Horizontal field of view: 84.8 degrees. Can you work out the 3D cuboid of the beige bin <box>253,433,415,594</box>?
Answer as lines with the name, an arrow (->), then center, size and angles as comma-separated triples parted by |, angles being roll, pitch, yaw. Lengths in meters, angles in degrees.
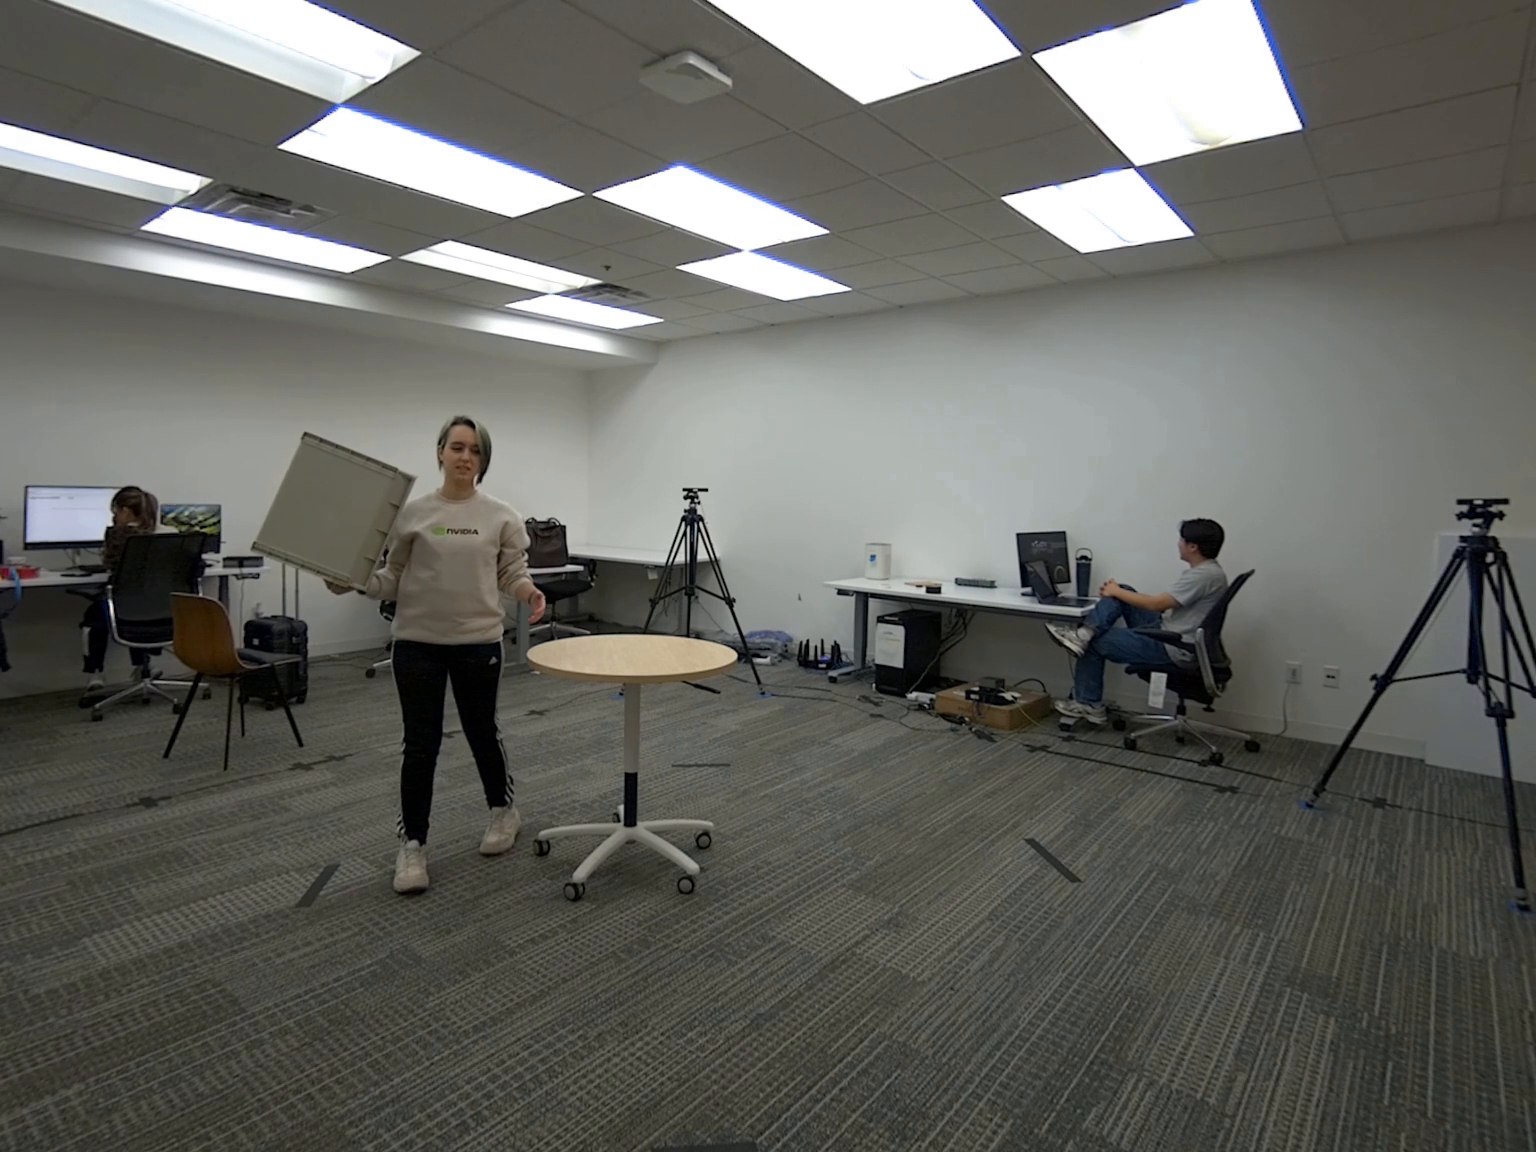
beige bin -> -1.429, -0.206, 2.806 | 0.372, 0.423, 0.191 | 22, -4, -11
